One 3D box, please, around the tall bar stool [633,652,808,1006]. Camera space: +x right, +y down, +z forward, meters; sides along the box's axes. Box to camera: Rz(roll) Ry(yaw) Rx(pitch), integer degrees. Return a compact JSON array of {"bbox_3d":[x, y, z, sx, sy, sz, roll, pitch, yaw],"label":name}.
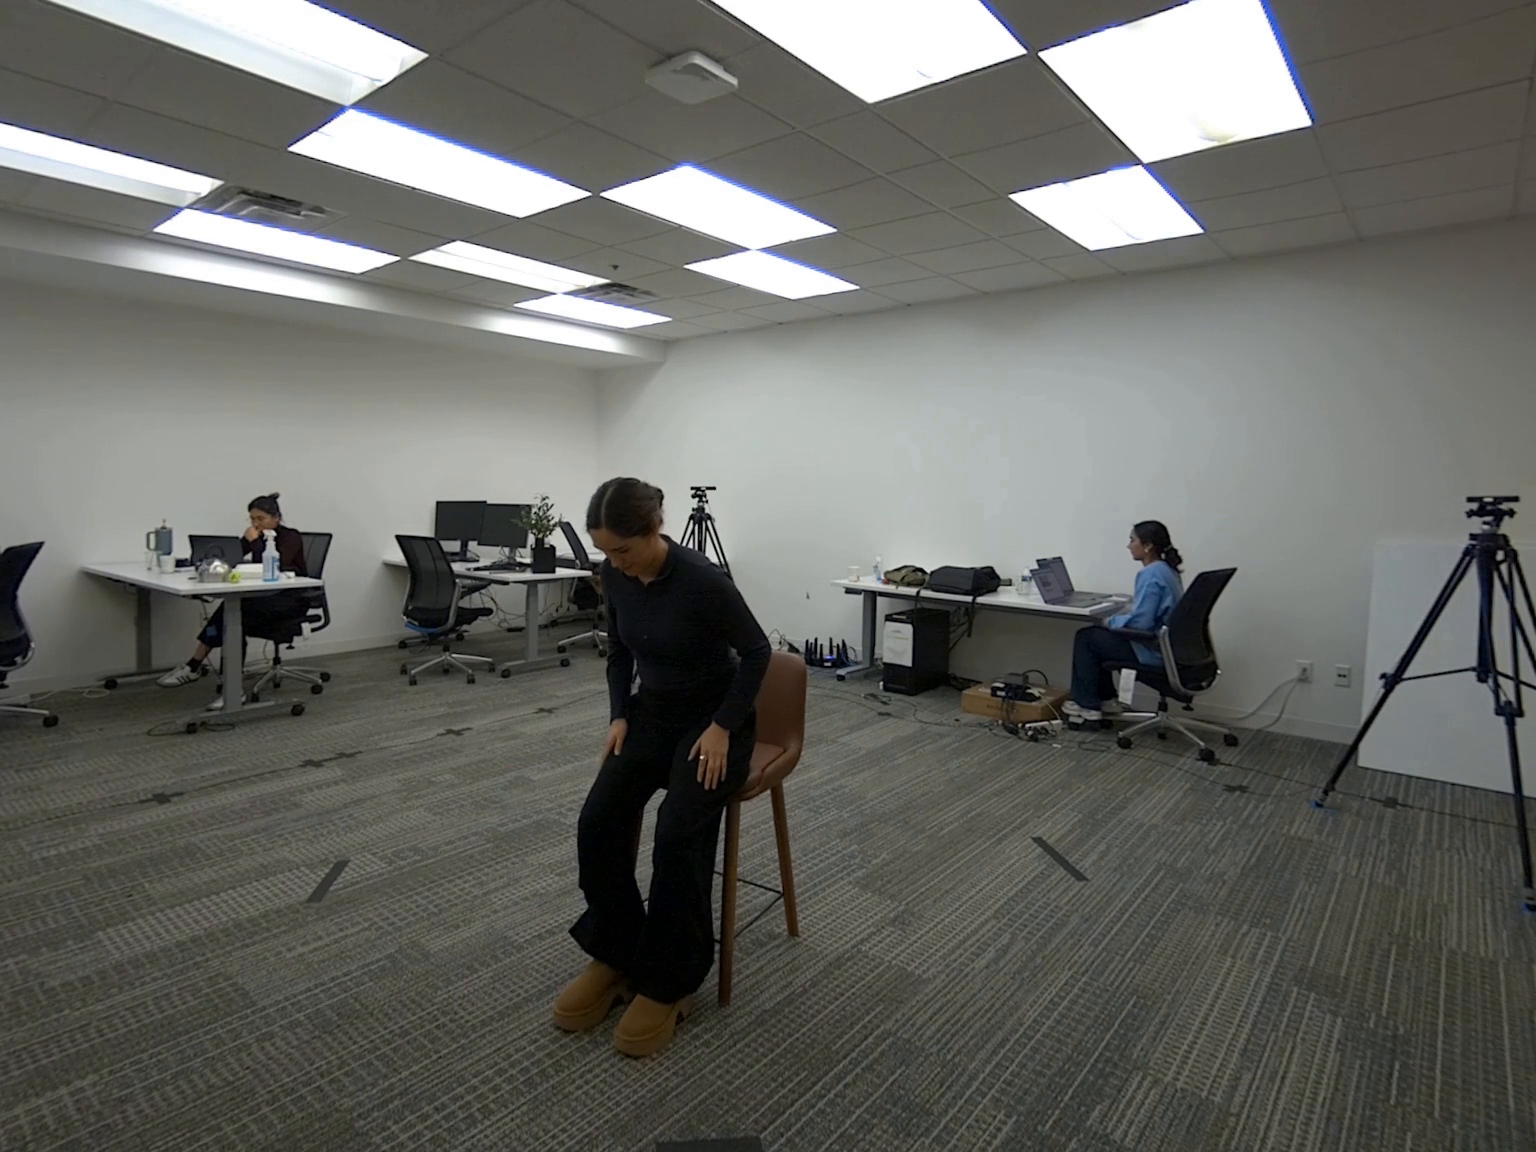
[{"bbox_3d":[-0.167,0.689,2.557,0.470,0.887,0.455,4,3,32],"label":"tall bar stool"}]
